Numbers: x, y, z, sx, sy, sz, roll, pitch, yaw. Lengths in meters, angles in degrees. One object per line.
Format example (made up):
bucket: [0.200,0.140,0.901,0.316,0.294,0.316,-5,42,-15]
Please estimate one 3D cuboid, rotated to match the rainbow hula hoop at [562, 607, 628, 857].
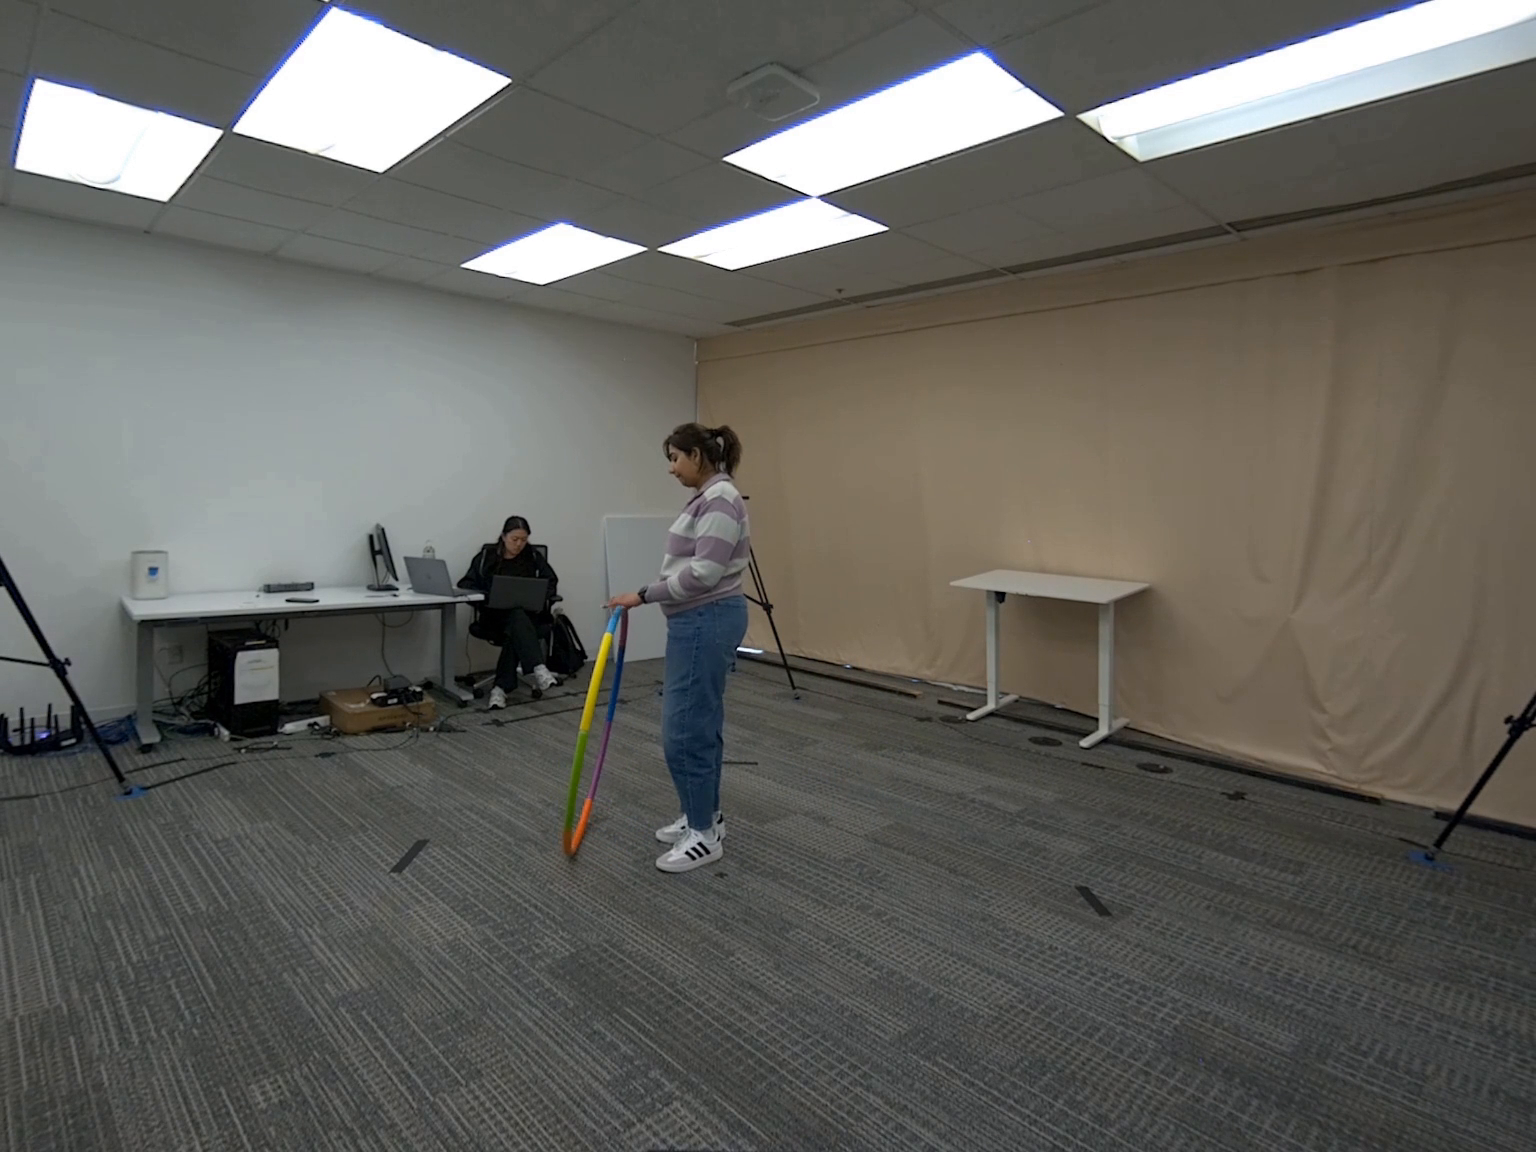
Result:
rainbow hula hoop: [-0.677,0.590,3.310,0.051,0.983,0.989,10,4,-3]
